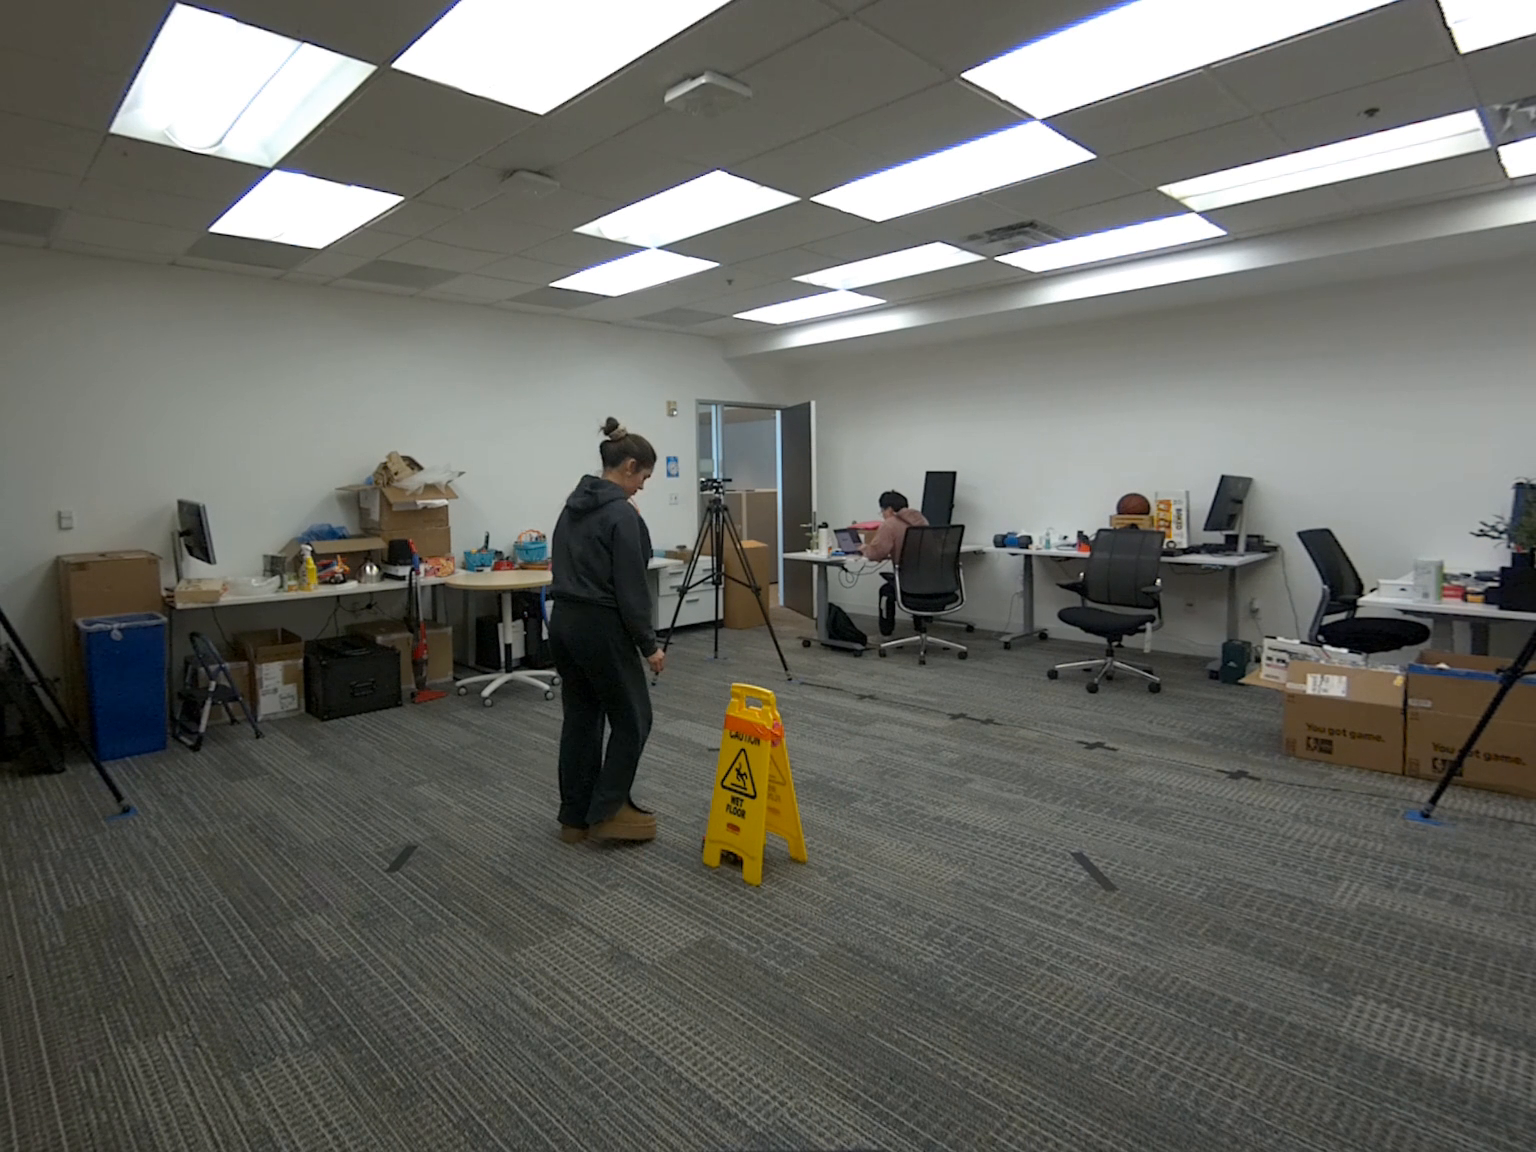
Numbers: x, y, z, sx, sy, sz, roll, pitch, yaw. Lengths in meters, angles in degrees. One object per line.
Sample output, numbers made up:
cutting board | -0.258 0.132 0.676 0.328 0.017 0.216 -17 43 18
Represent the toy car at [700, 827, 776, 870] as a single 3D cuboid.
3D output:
toy car | -0.114 1.002 3.165 0.127 0.083 0.261 -5 -3 -45
